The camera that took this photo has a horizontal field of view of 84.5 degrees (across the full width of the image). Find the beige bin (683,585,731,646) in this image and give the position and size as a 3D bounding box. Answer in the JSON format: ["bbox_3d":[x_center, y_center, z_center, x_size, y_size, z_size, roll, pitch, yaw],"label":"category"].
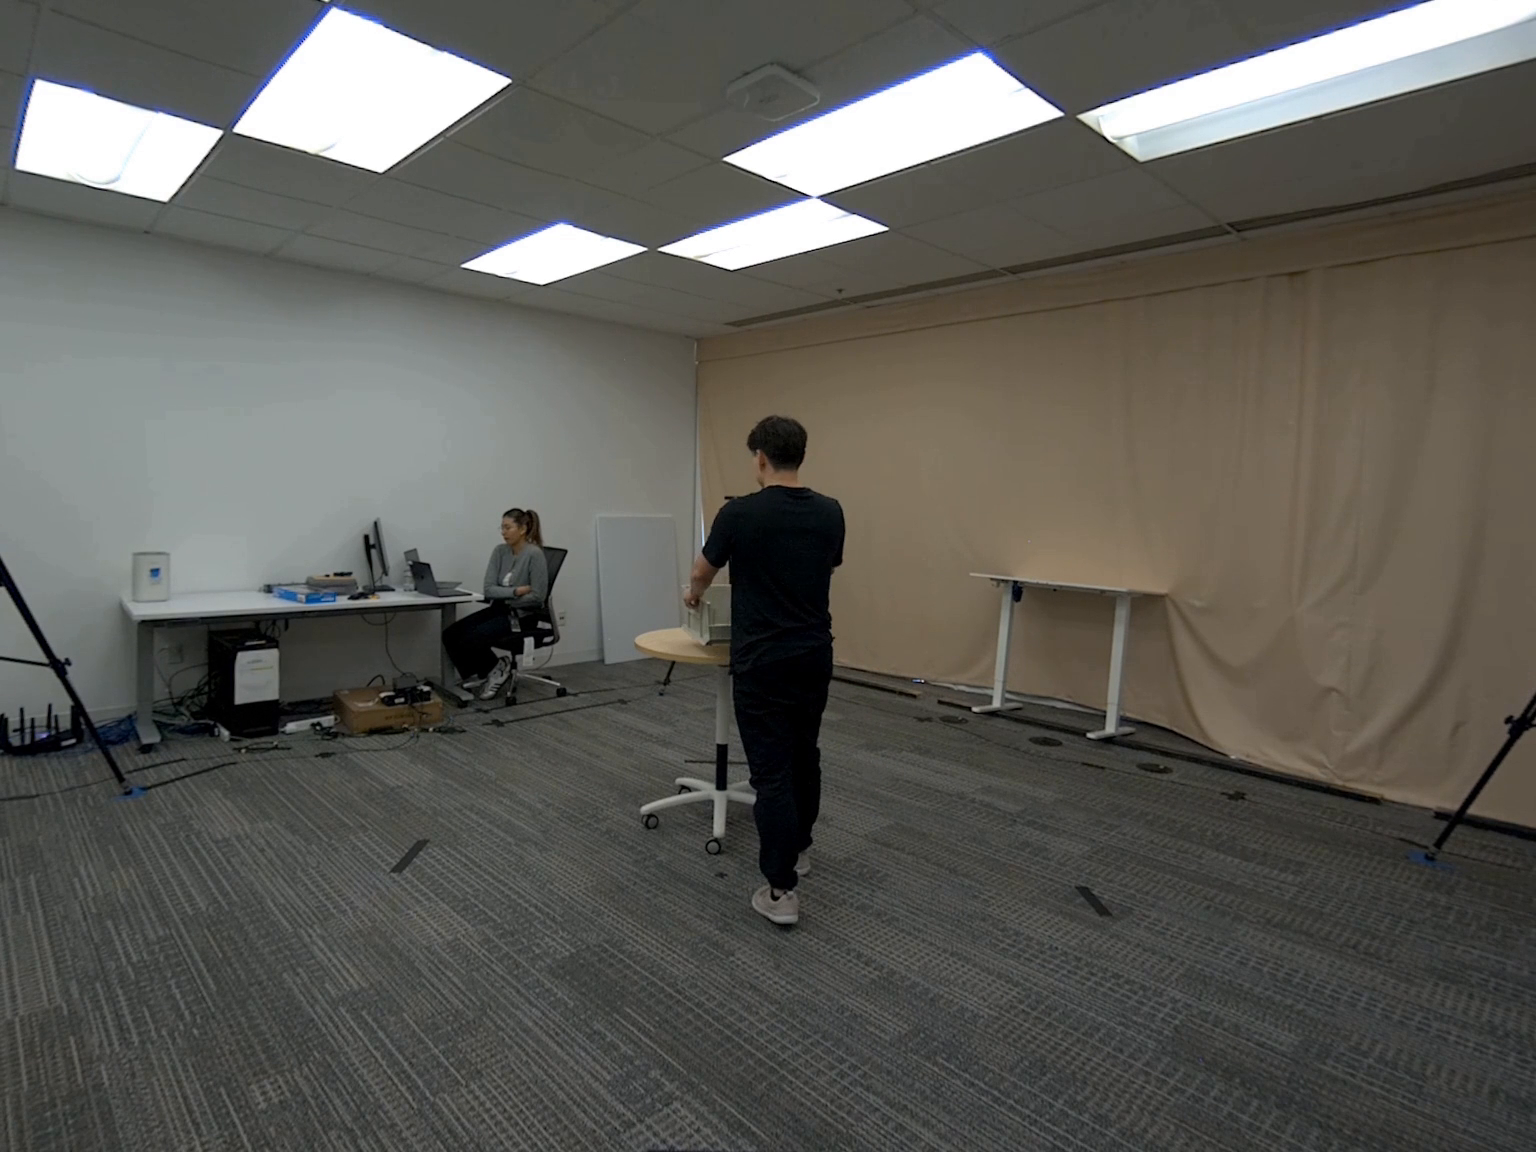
[{"bbox_3d":[-0.102,0.157,3.390,0.416,0.188,0.385,0,7,-21],"label":"beige bin"}]
